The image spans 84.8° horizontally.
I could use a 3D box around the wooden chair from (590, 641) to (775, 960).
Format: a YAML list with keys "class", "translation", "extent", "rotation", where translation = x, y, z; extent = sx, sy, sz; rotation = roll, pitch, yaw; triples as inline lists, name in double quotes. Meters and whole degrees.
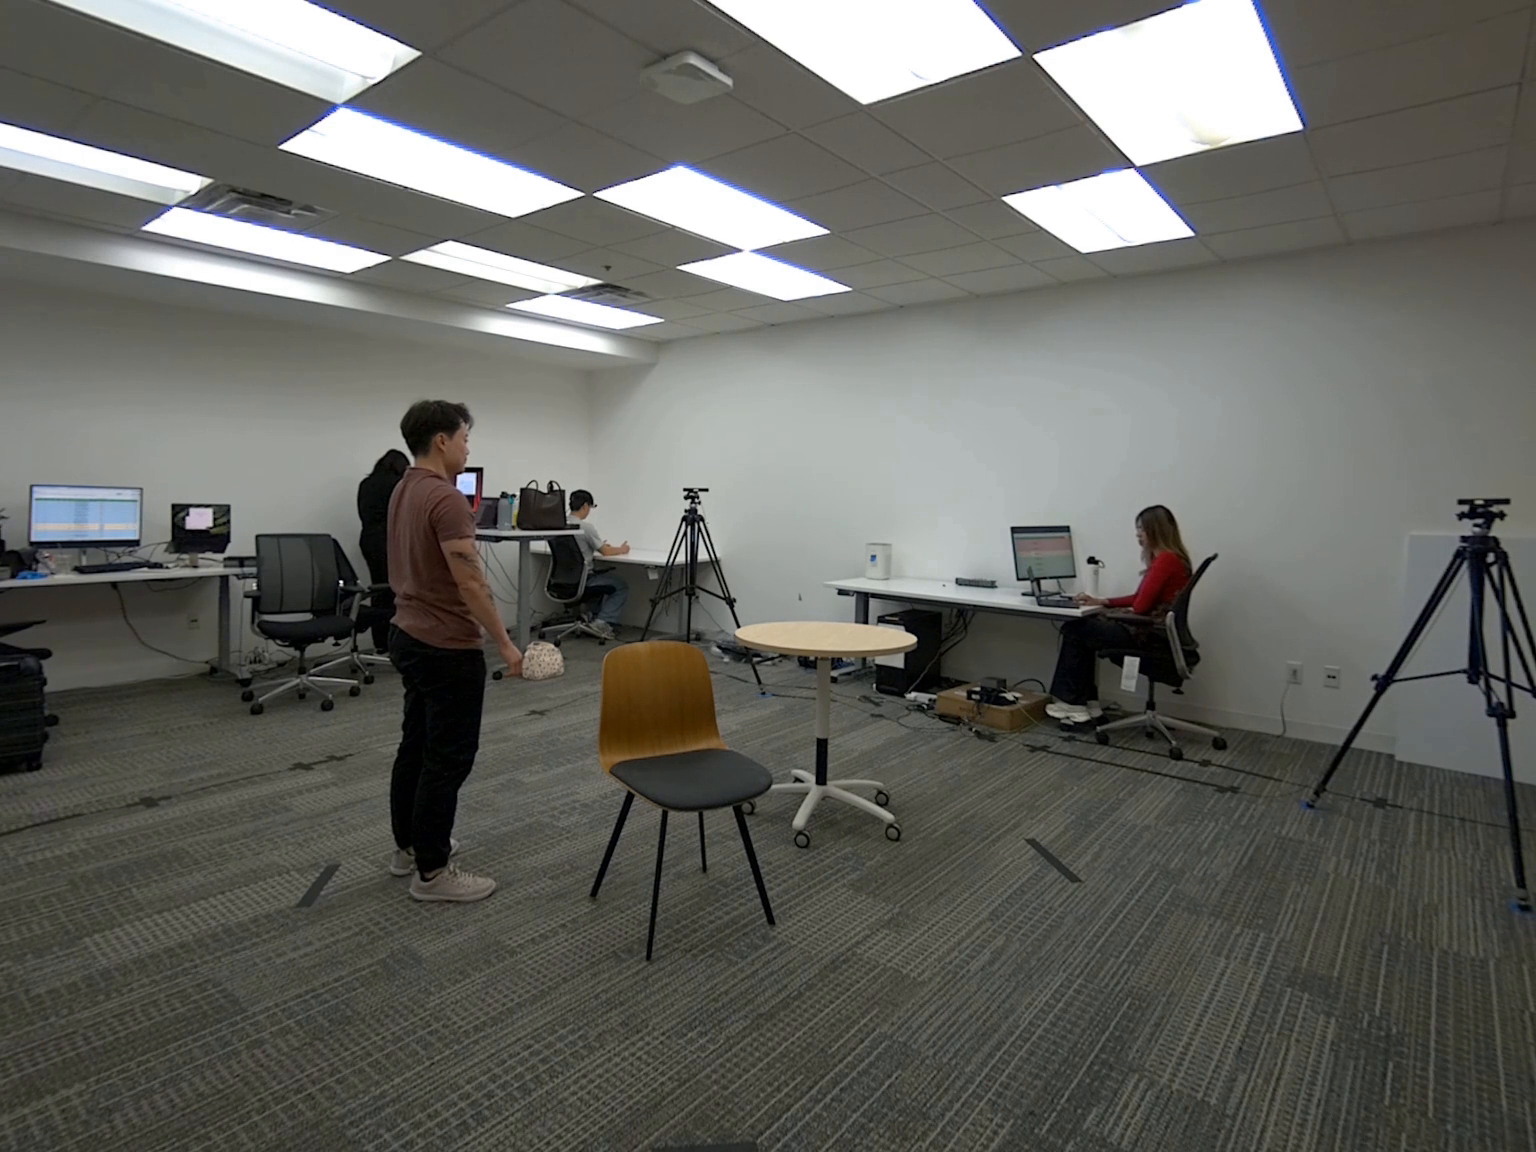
- class: "wooden chair"
  translation: [-0.284, 0.675, 2.765]
  extent: [0.465, 0.878, 0.537]
  rotation: [0, -1, -32]
